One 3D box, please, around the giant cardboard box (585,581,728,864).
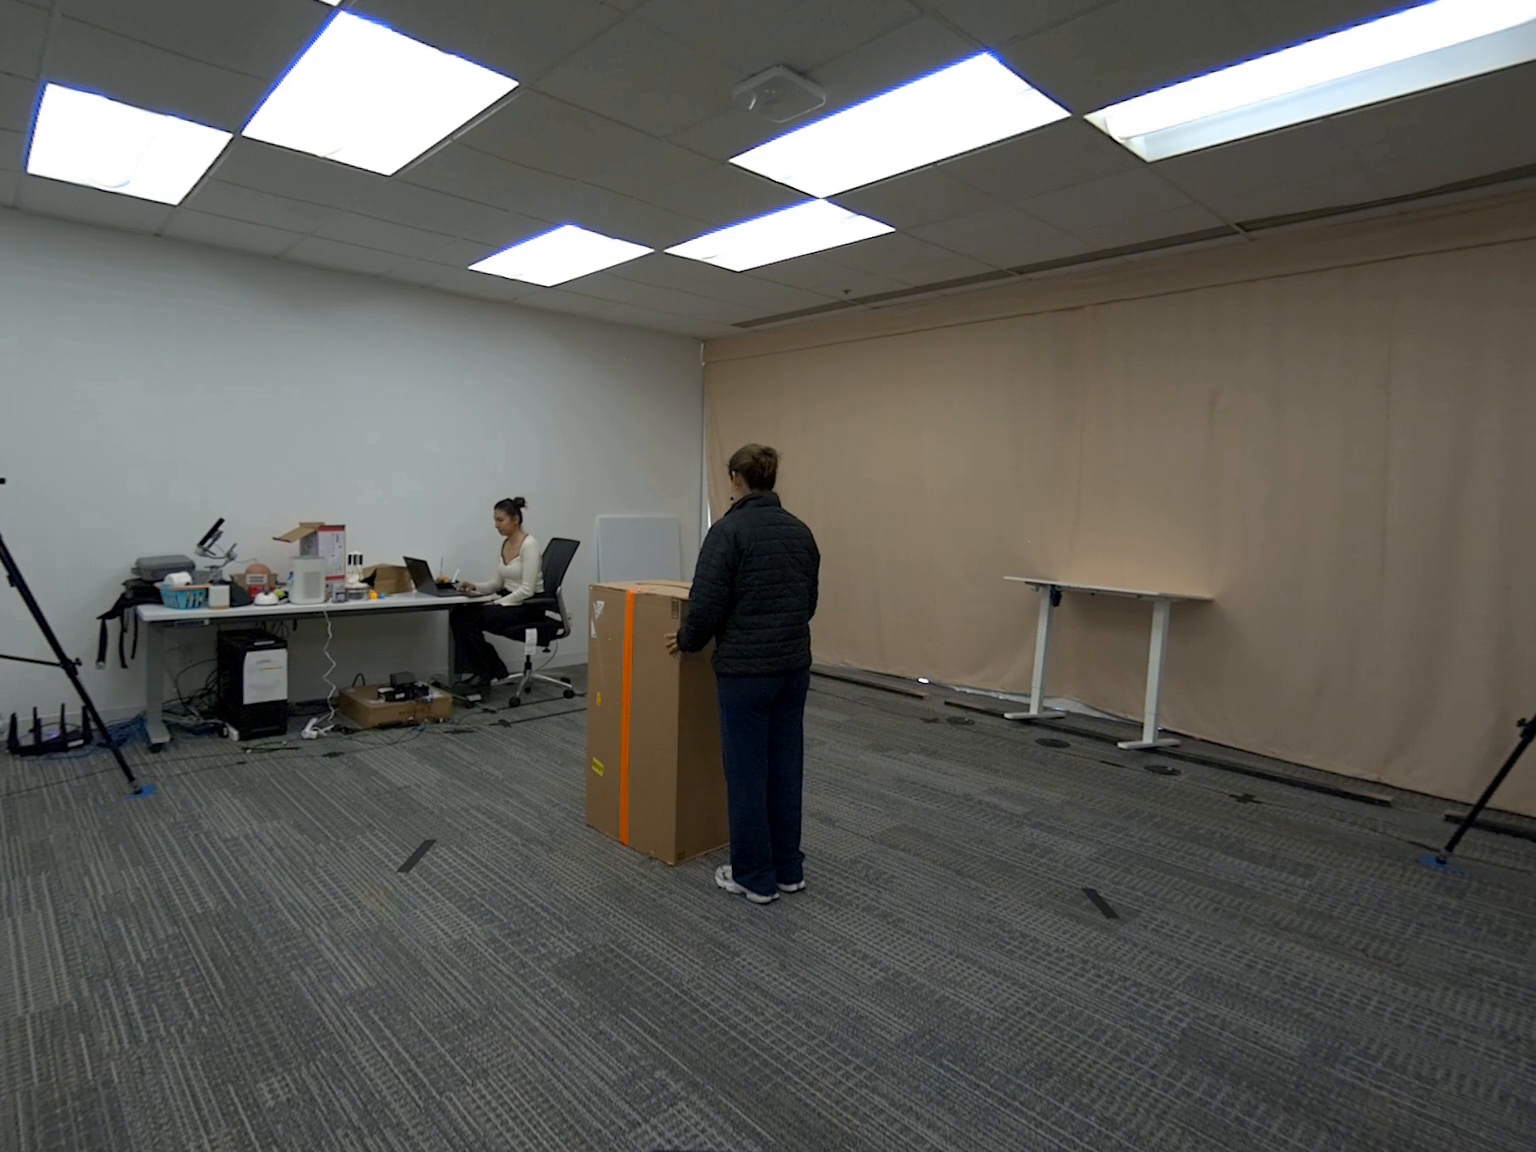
[{"bbox_3d":[-0.419,0.560,3.481,0.592,1.024,0.416,4,4,44],"label":"giant cardboard box"}]
